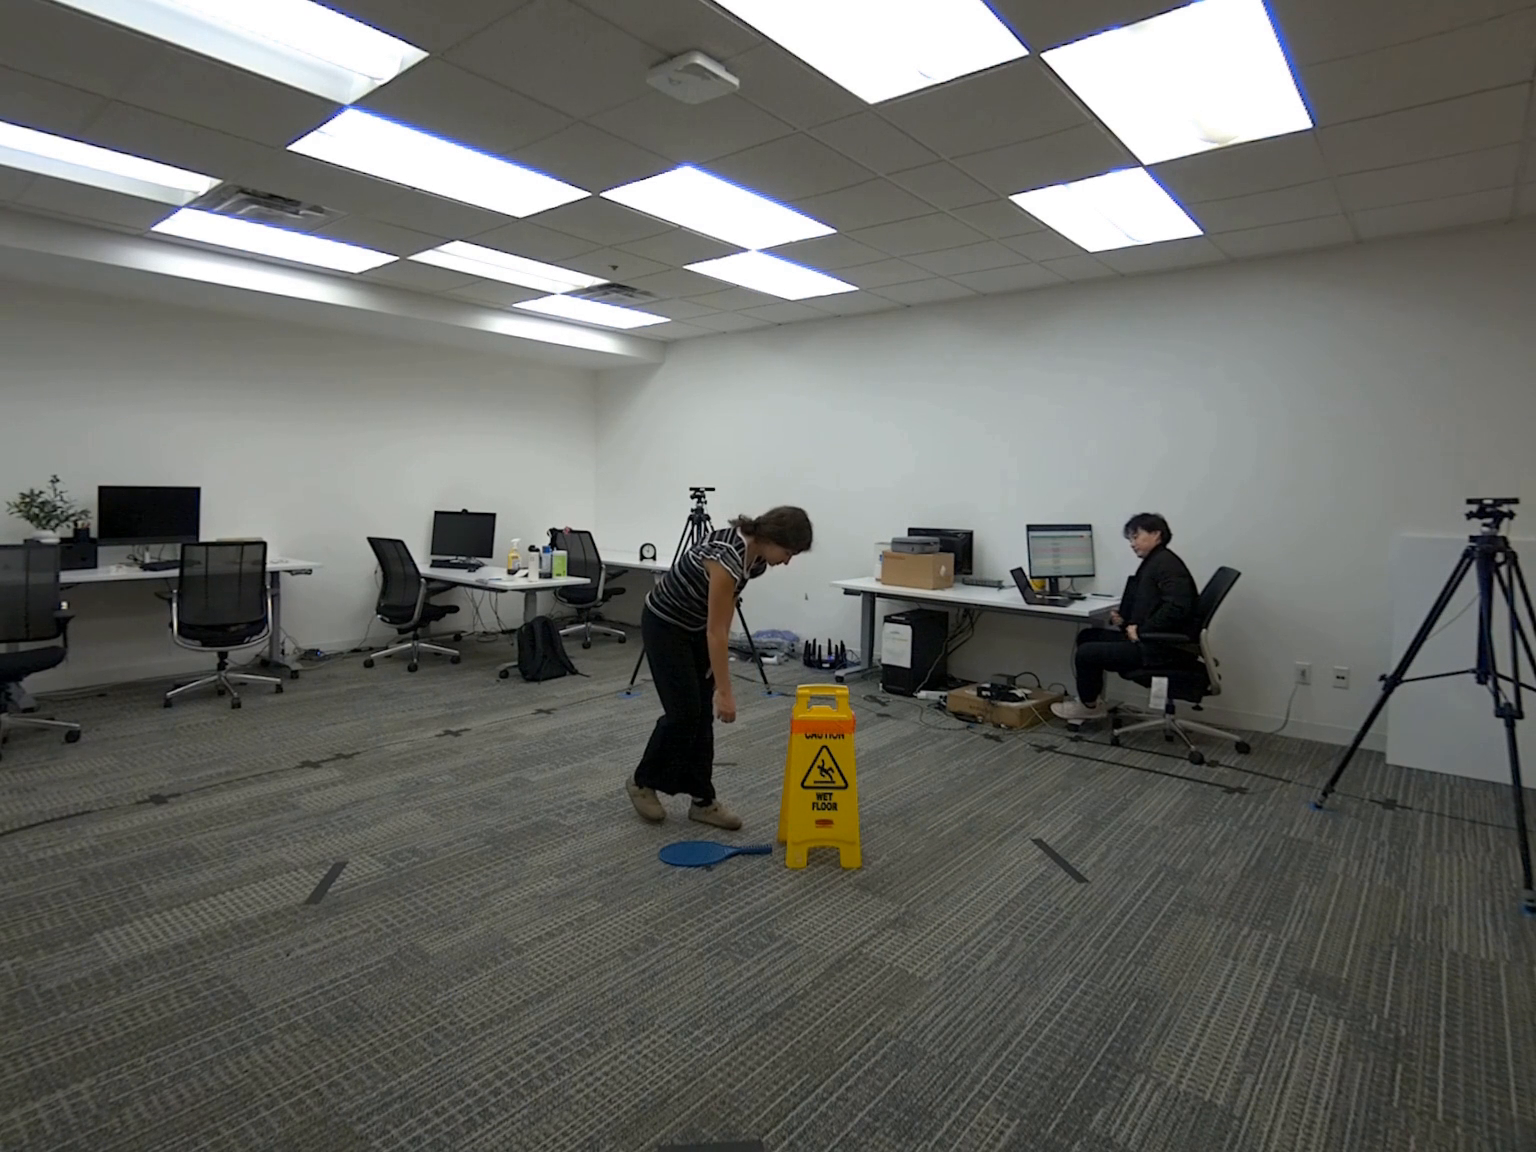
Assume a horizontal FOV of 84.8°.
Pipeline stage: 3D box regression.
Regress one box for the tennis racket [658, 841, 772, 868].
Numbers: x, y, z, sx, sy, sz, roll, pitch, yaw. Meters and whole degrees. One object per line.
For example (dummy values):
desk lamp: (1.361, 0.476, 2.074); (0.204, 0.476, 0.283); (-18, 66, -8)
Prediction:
tennis racket: (-0.213, 1.040, 3.227); (0.431, 0.031, 0.216); (-1, 6, -5)
